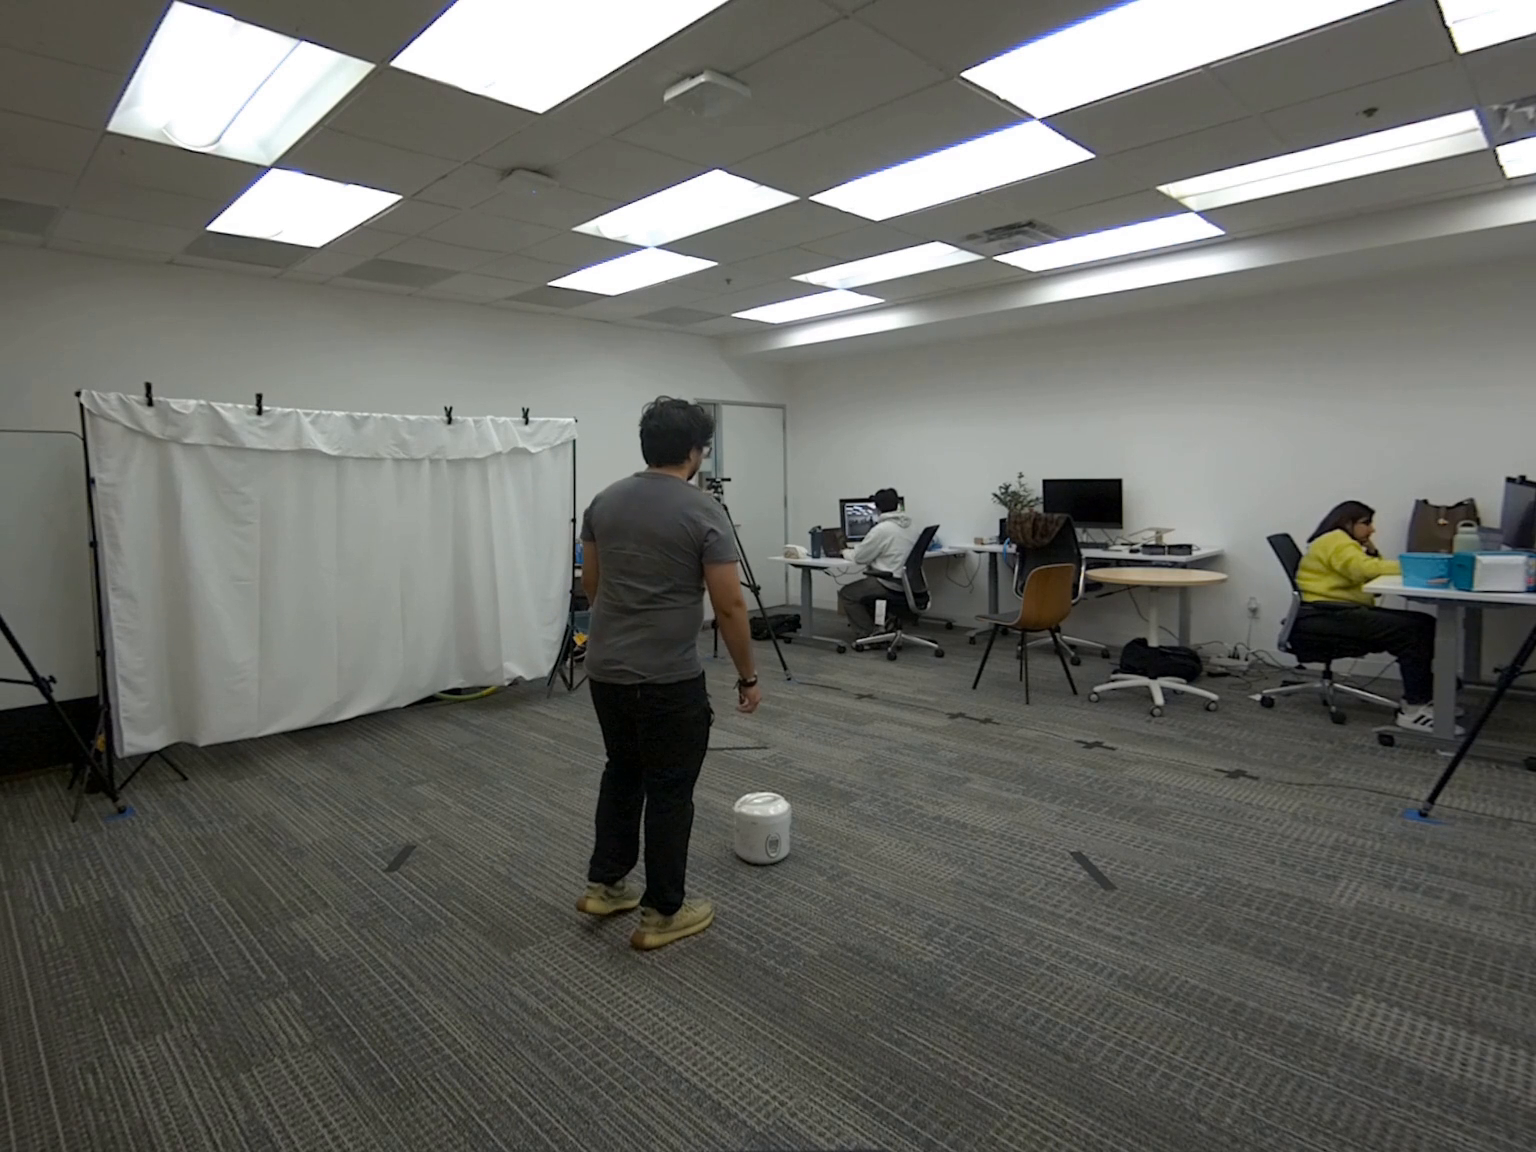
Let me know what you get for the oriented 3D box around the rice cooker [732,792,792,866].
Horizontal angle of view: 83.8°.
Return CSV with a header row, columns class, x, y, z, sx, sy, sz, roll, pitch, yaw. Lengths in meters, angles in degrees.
class,x,y,z,sx,sy,sz,roll,pitch,yaw
rice cooker,-0.019,0.915,3.162,0.216,0.232,0.222,-3,5,-21
